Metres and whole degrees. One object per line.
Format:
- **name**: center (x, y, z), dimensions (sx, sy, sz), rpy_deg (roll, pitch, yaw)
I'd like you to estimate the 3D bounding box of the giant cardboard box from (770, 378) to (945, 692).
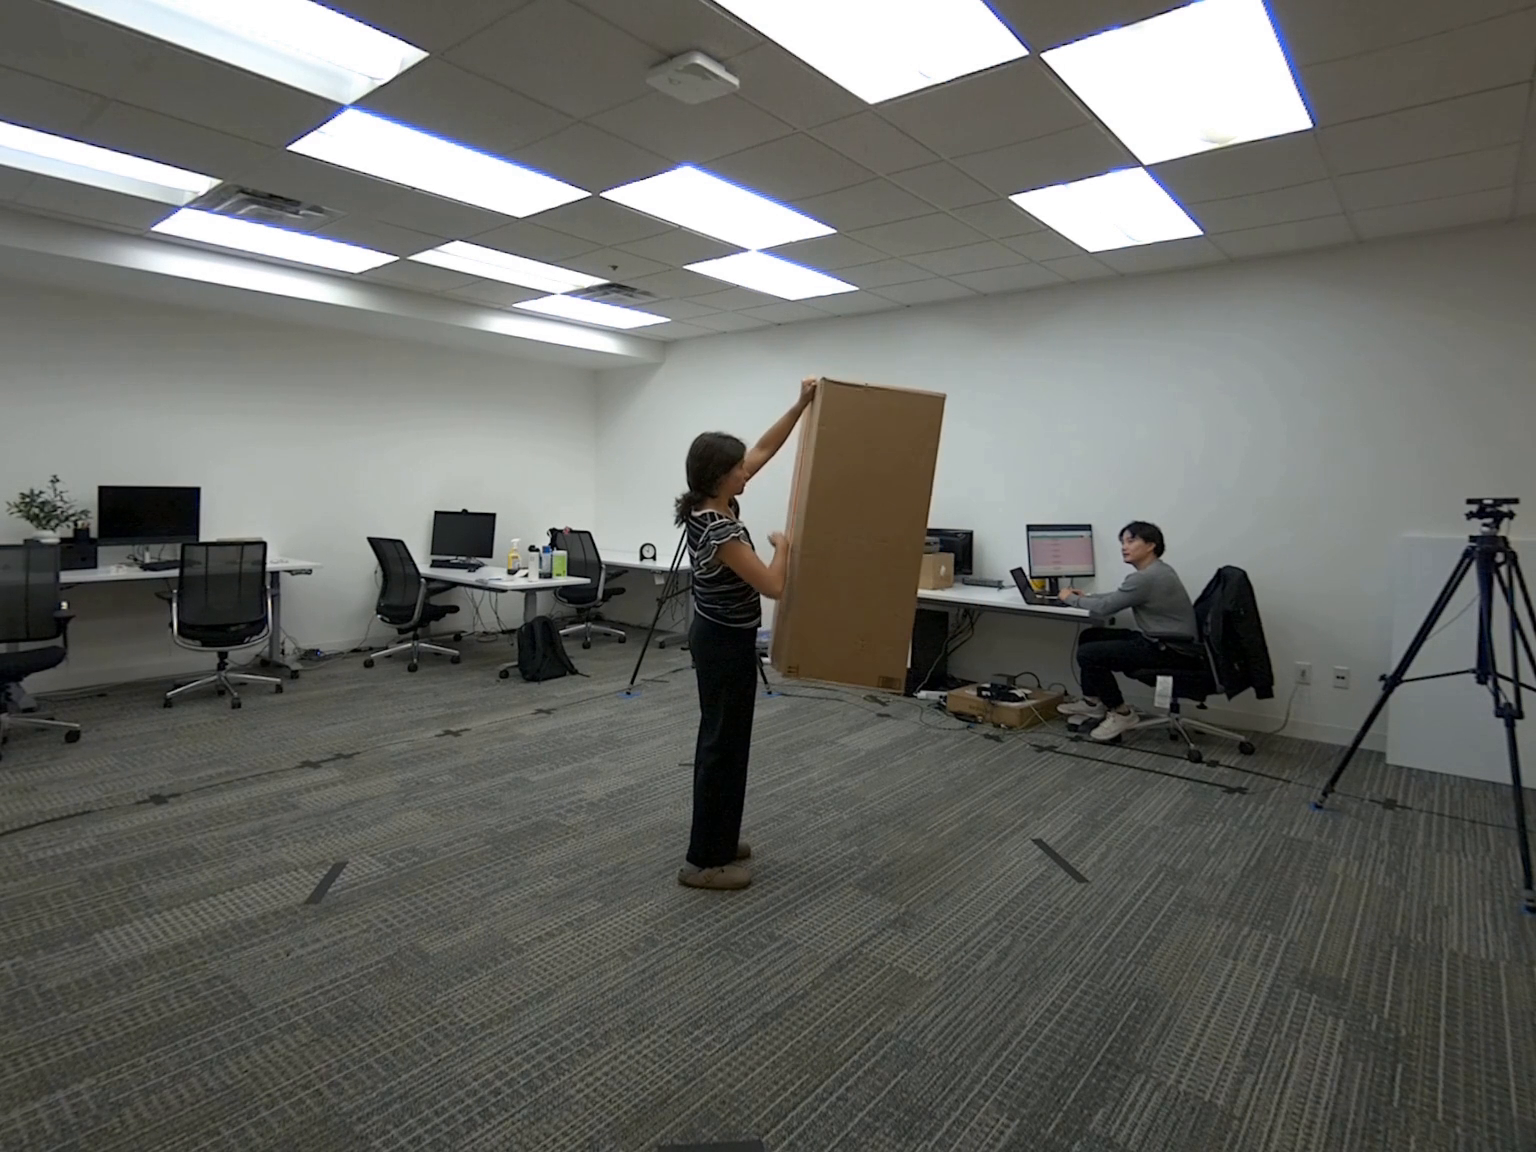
- **giant cardboard box**: center (0.290, -0.159, 3.142), dimensions (0.425, 1.024, 0.580), rpy_deg (8, 2, -4)
